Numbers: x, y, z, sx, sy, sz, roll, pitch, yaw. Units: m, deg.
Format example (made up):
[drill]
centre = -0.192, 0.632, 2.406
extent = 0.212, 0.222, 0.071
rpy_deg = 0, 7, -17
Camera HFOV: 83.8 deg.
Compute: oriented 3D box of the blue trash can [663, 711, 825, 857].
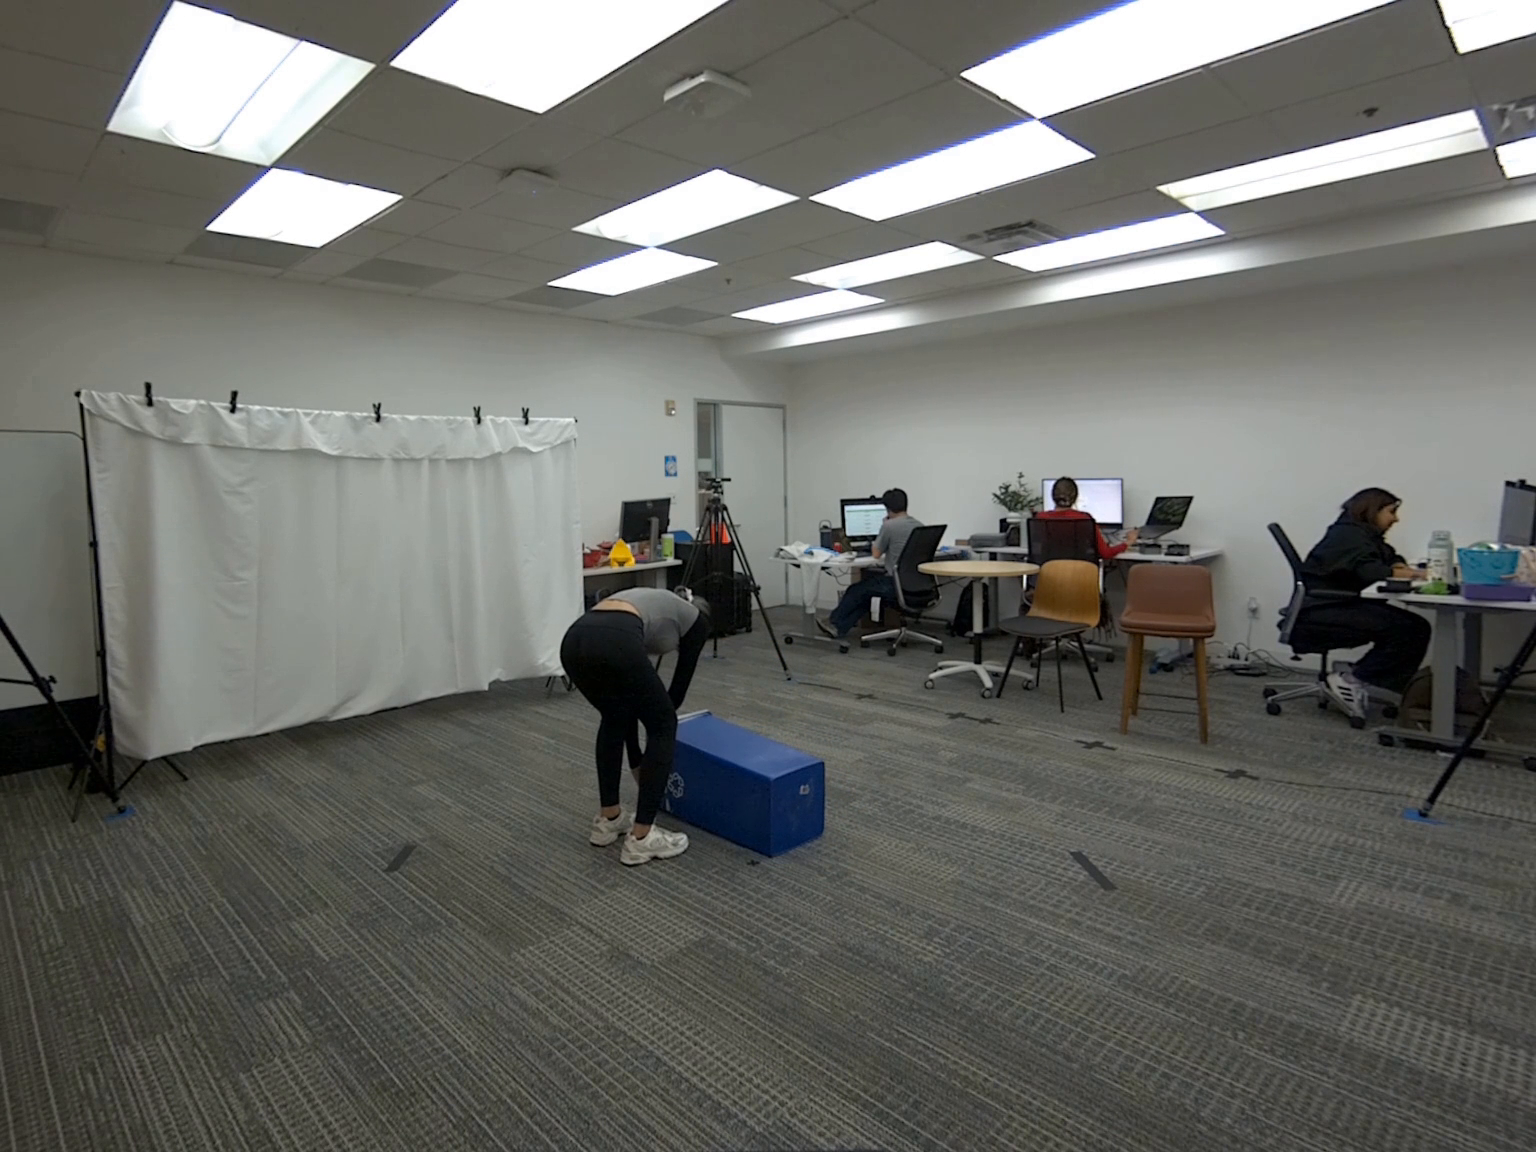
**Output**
[blue trash can]
centre = -0.131, 0.826, 3.488
extent = 0.368, 0.372, 0.737
rpy_deg = -4, 8, -44
